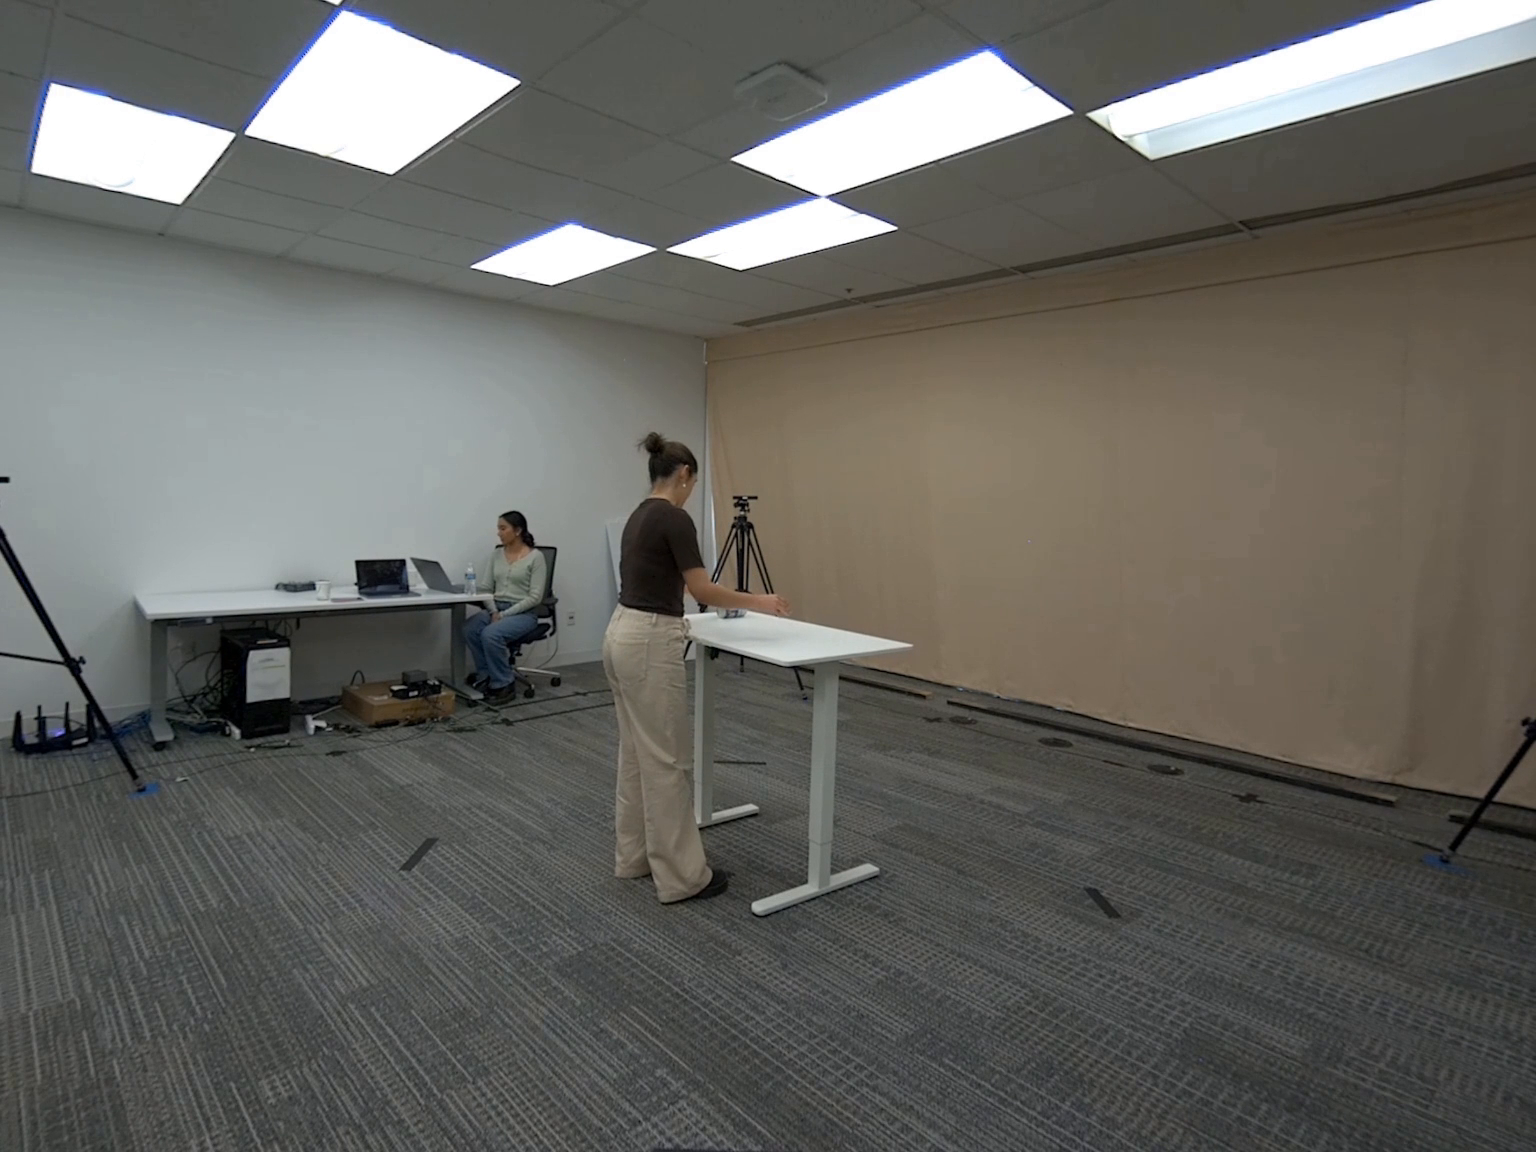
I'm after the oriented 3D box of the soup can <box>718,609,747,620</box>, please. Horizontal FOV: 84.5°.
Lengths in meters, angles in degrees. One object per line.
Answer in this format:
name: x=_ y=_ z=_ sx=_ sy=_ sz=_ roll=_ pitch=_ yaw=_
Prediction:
soup can: x=-0.158 y=0.147 z=3.558 sx=0.119 sy=0.067 sz=0.069 roll=-5 pitch=7 yaw=-41
